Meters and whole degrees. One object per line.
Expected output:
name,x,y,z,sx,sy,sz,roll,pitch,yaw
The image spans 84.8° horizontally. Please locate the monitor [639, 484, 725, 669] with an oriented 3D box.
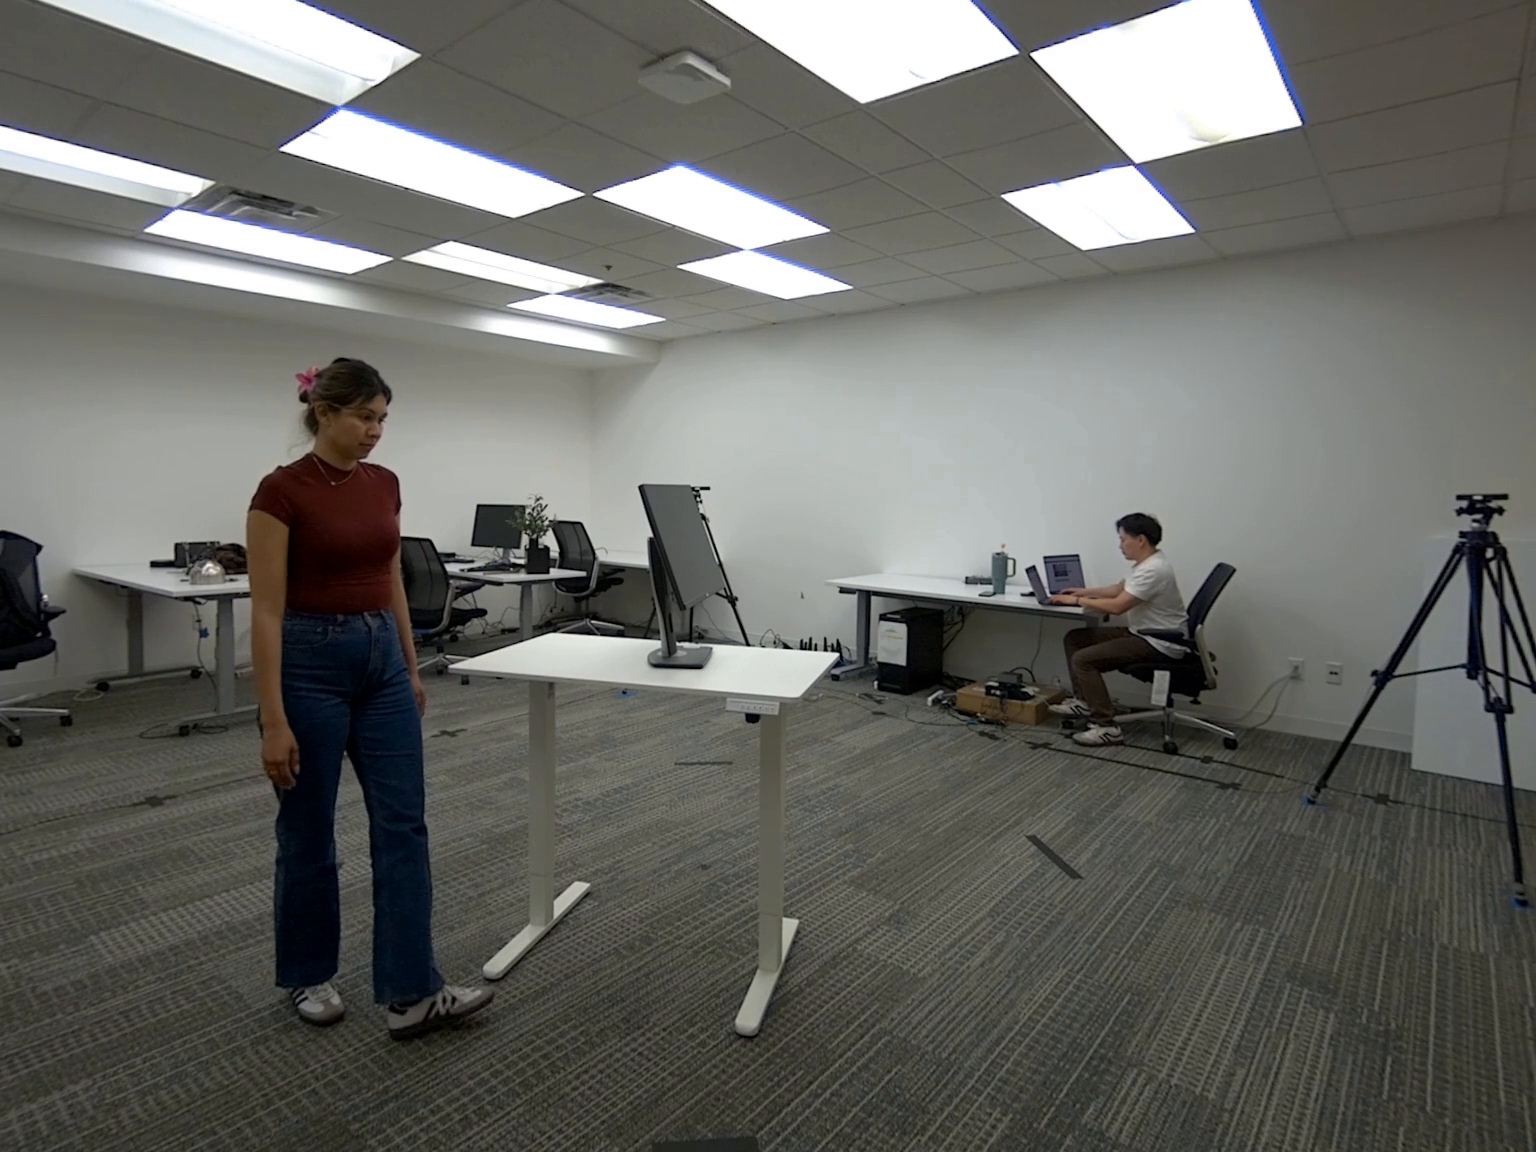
monitor,-0.281,-0.008,2.505,0.189,0.521,0.536,-2,4,7
